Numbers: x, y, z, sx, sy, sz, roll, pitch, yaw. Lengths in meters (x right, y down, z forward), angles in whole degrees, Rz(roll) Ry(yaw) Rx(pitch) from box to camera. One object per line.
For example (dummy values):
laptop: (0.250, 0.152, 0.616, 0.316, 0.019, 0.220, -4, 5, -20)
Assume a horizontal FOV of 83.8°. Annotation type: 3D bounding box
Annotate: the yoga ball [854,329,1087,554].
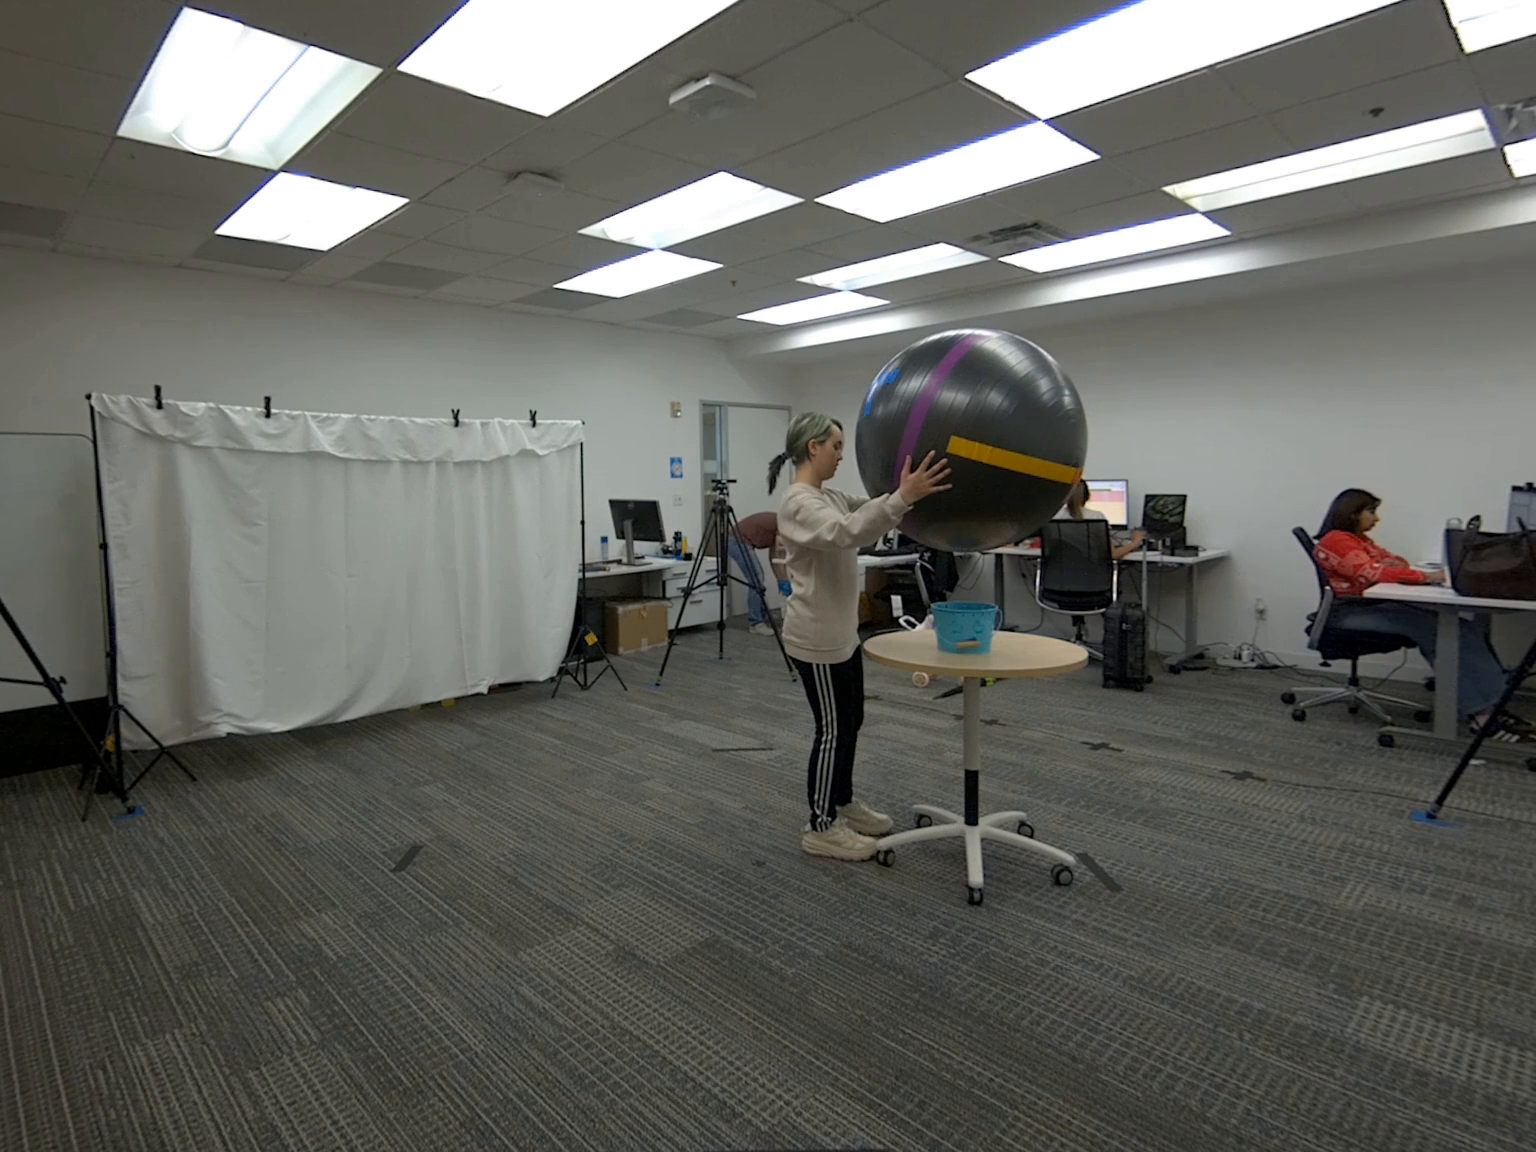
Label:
yoga ball: (0.692, -0.452, 2.905, 0.757, 0.755, 0.762, -1, 5, -2)
